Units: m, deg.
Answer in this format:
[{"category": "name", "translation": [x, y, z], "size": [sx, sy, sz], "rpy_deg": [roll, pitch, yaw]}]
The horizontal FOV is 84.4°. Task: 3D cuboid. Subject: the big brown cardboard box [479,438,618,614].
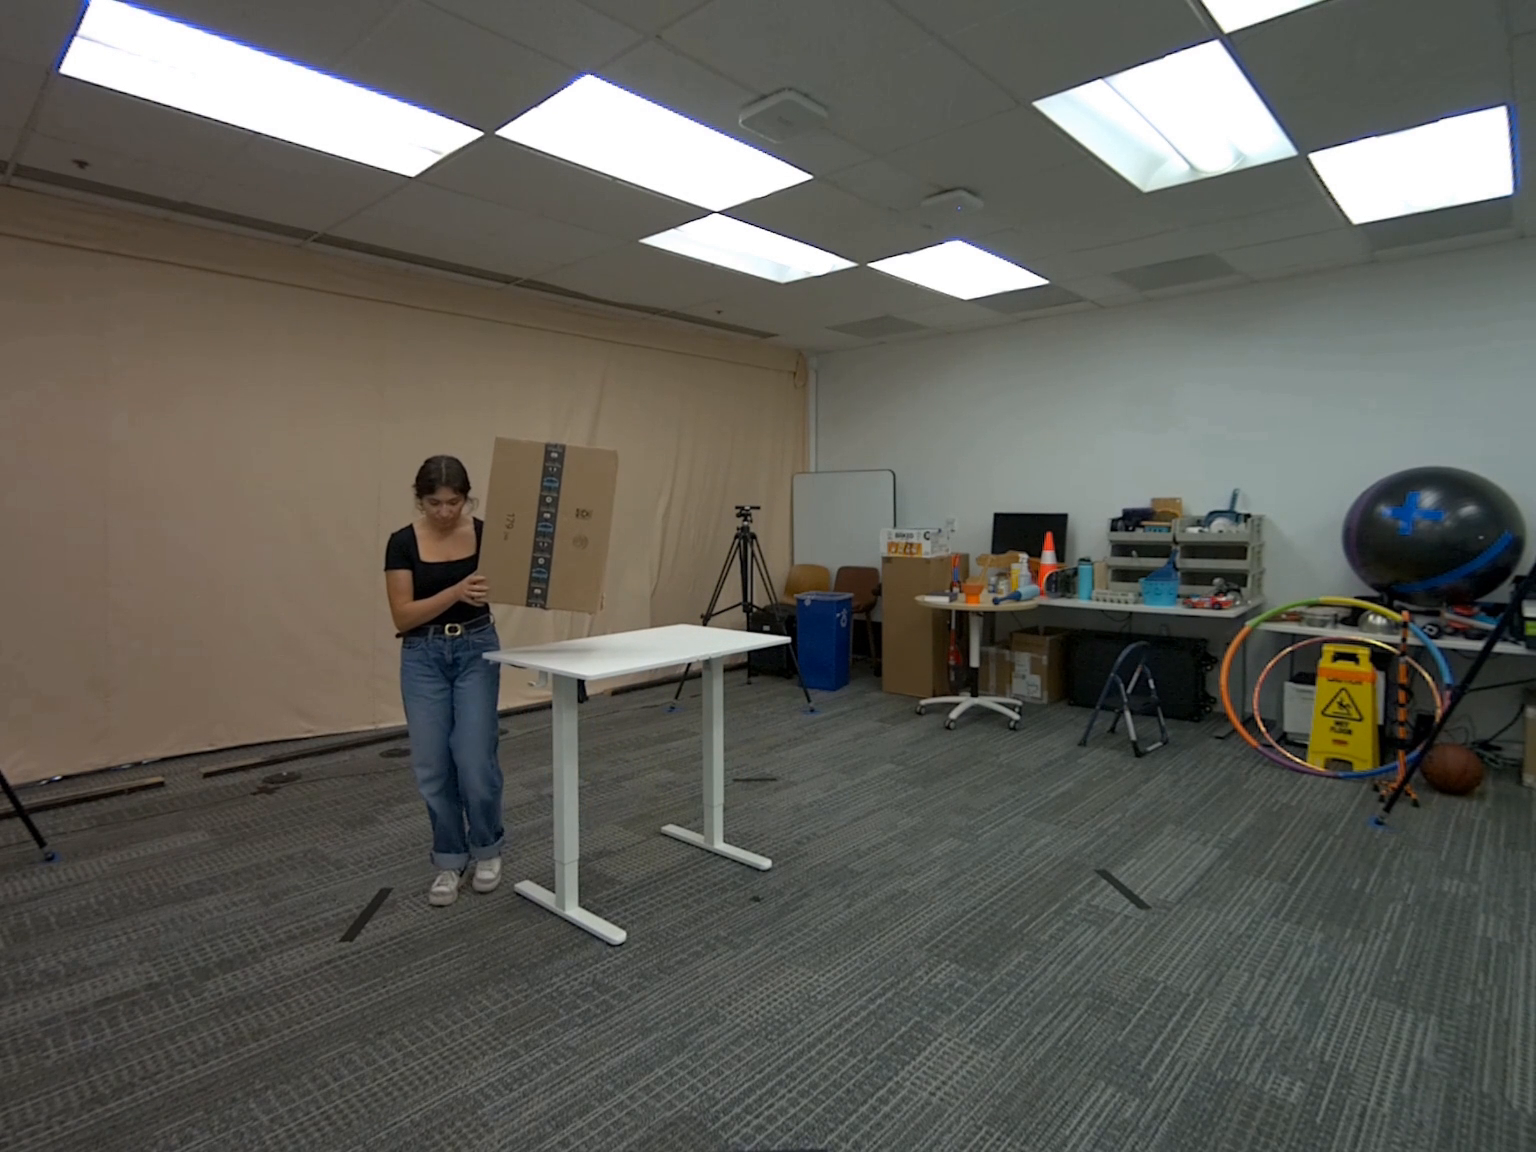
[{"category": "big brown cardboard box", "translation": [-0.765, -0.168, 2.941], "size": [0.414, 0.590, 0.235], "rpy_deg": [7, -3, -7]}]
